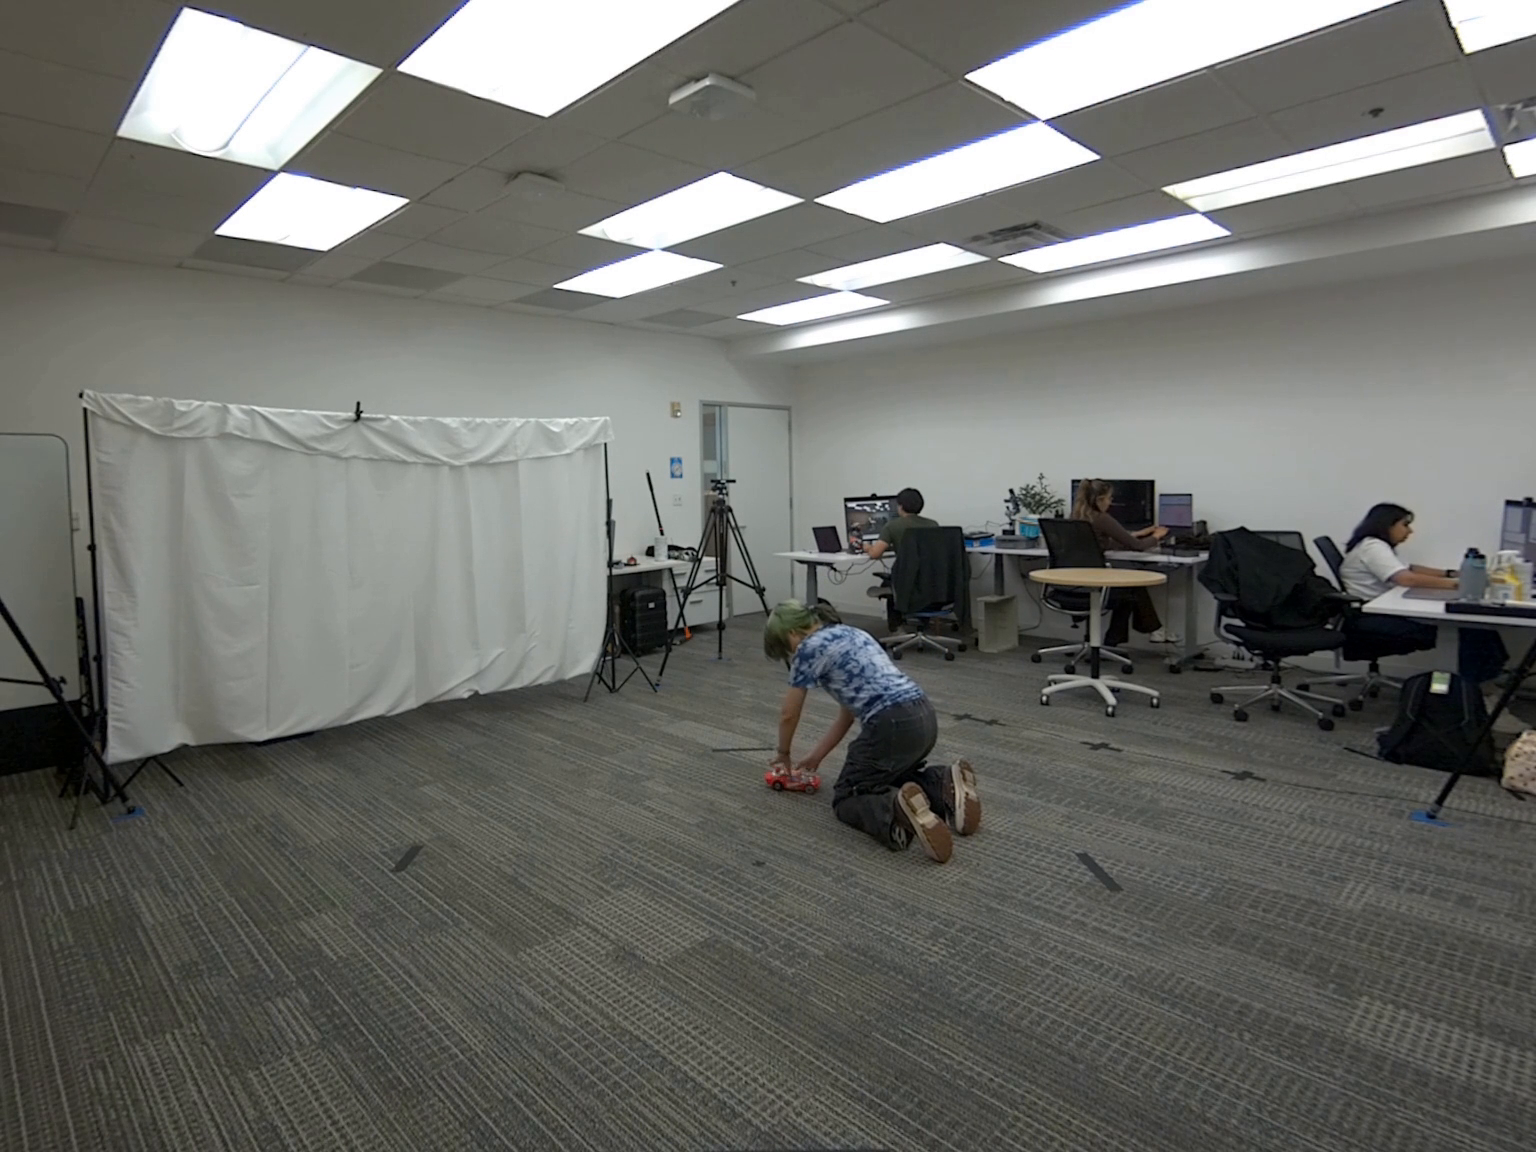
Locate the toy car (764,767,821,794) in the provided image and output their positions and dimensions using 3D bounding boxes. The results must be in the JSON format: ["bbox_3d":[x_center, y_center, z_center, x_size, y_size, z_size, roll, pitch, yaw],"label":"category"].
[{"bbox_3d":[0.102,0.927,3.868,0.258,0.083,0.129,13,7,13],"label":"toy car"}]
